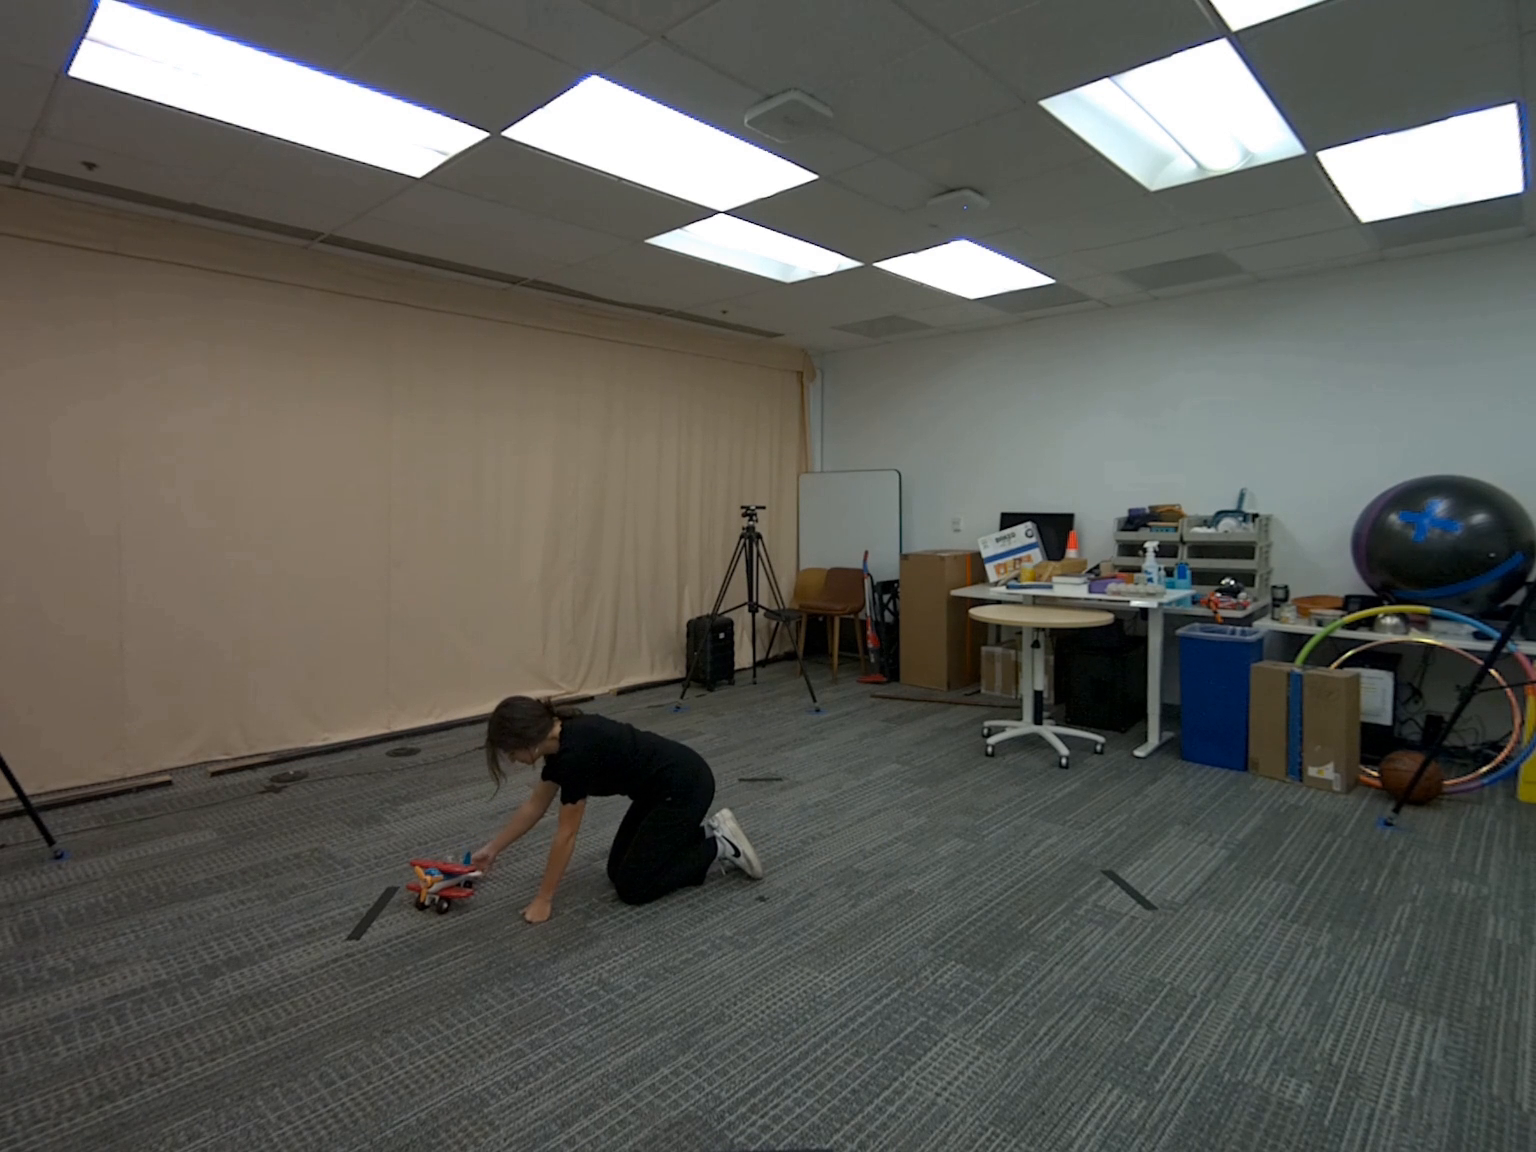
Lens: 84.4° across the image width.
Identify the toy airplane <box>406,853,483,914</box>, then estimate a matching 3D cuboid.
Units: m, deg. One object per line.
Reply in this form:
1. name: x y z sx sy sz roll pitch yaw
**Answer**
1. toy airplane: -1.164 1.089 2.995 0.248 0.156 0.263 -1 5 -10
